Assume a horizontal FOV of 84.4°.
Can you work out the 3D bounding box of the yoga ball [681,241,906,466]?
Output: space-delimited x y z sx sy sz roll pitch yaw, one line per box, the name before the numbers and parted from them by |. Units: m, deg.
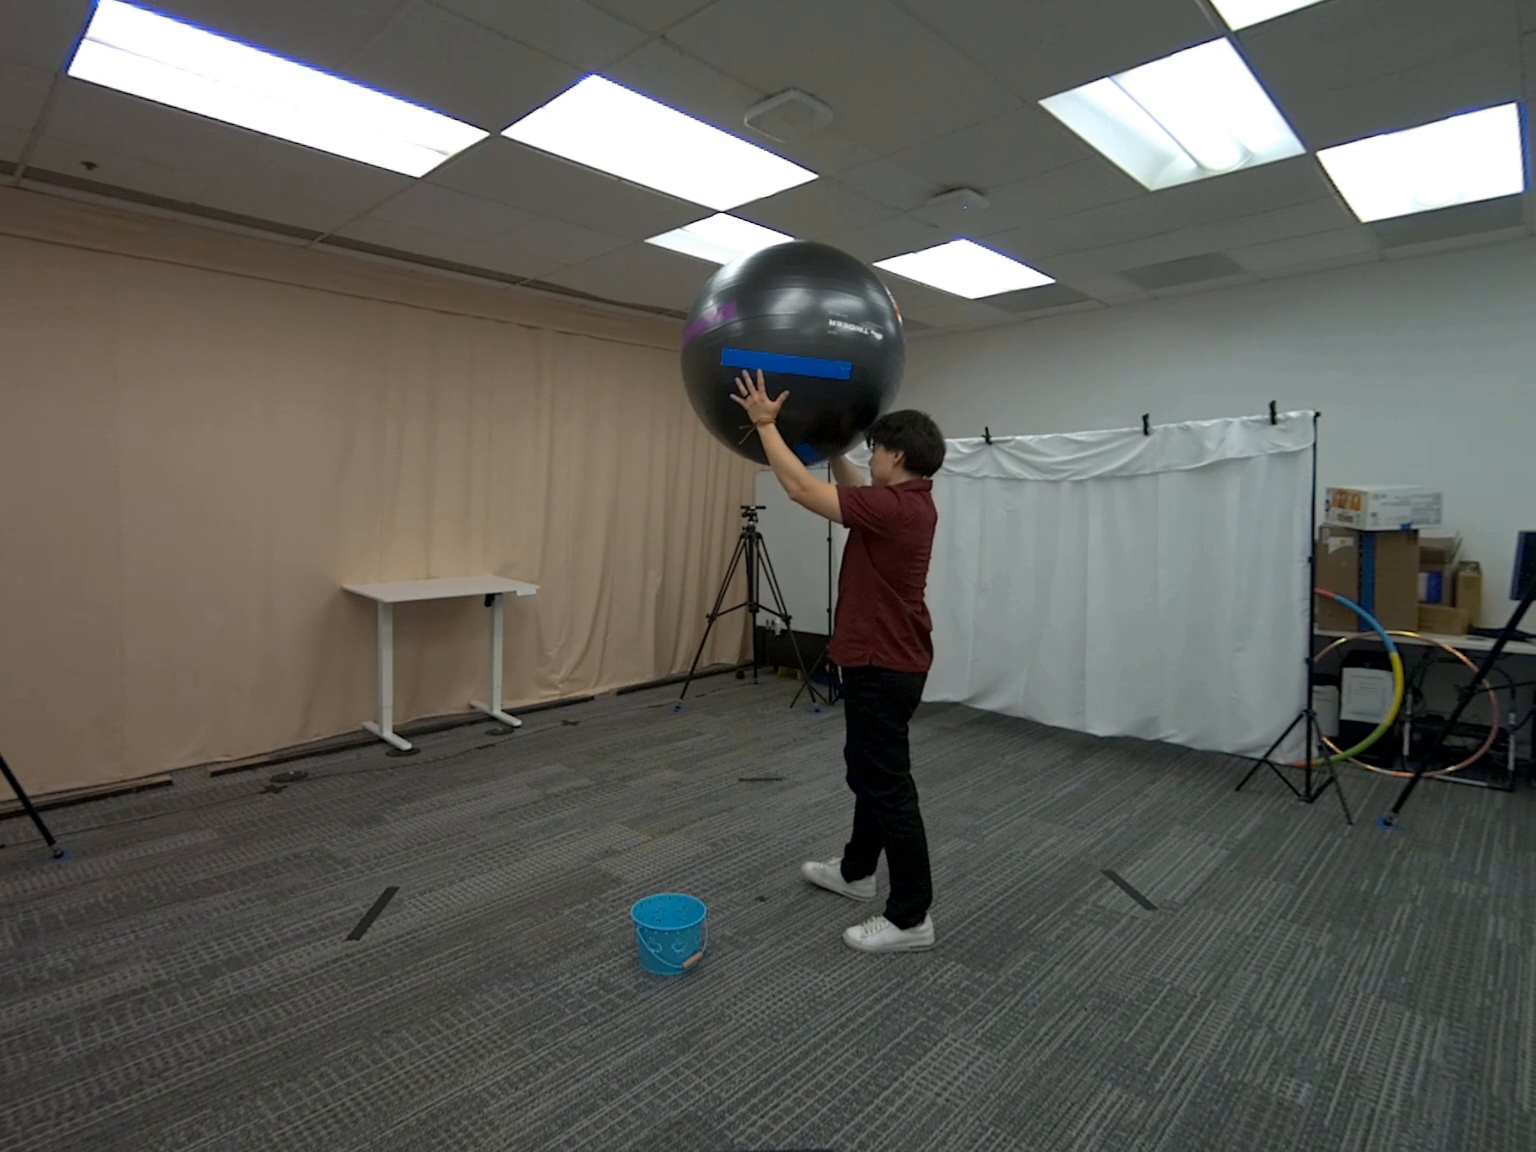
yoga ball | 0.082 -0.749 2.886 0.757 0.756 0.760 0 4 -2
